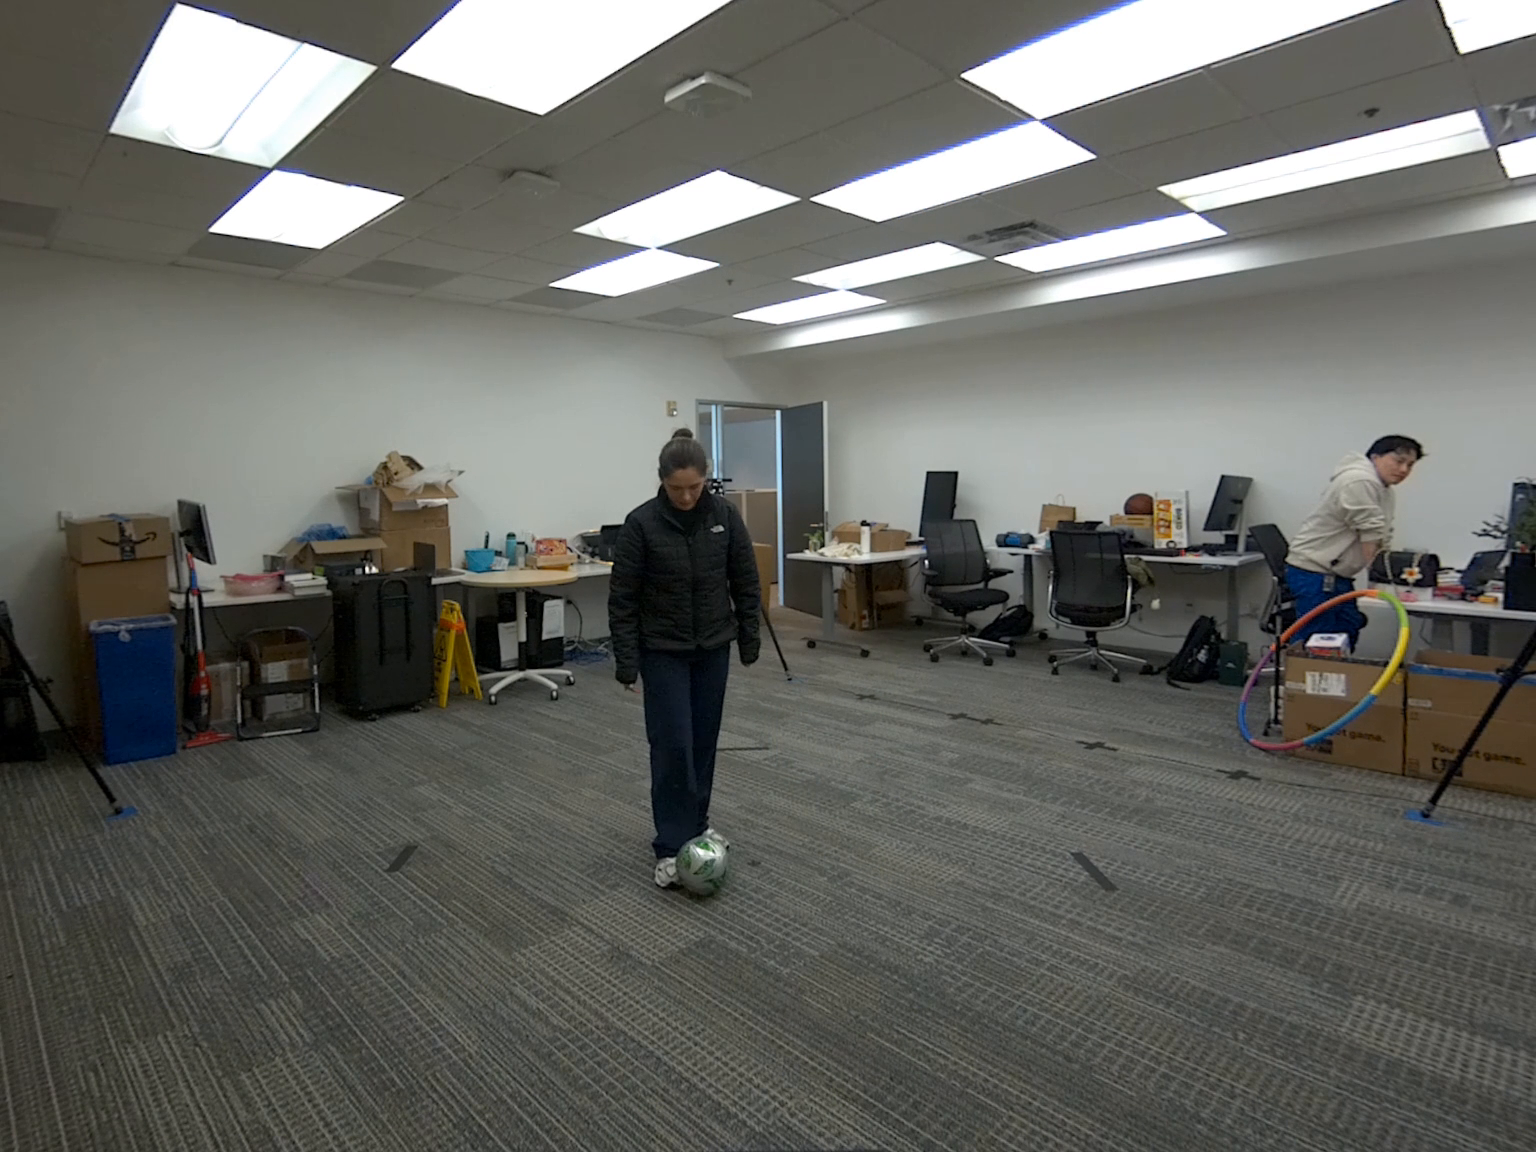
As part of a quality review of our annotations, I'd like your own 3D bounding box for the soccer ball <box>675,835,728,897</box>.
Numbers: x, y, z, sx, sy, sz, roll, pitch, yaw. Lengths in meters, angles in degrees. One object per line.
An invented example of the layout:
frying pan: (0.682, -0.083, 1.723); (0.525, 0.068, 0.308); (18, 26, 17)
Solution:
soccer ball: (-0.218, 0.983, 2.891); (0.187, 0.187, 0.188); (-1, 5, -2)
